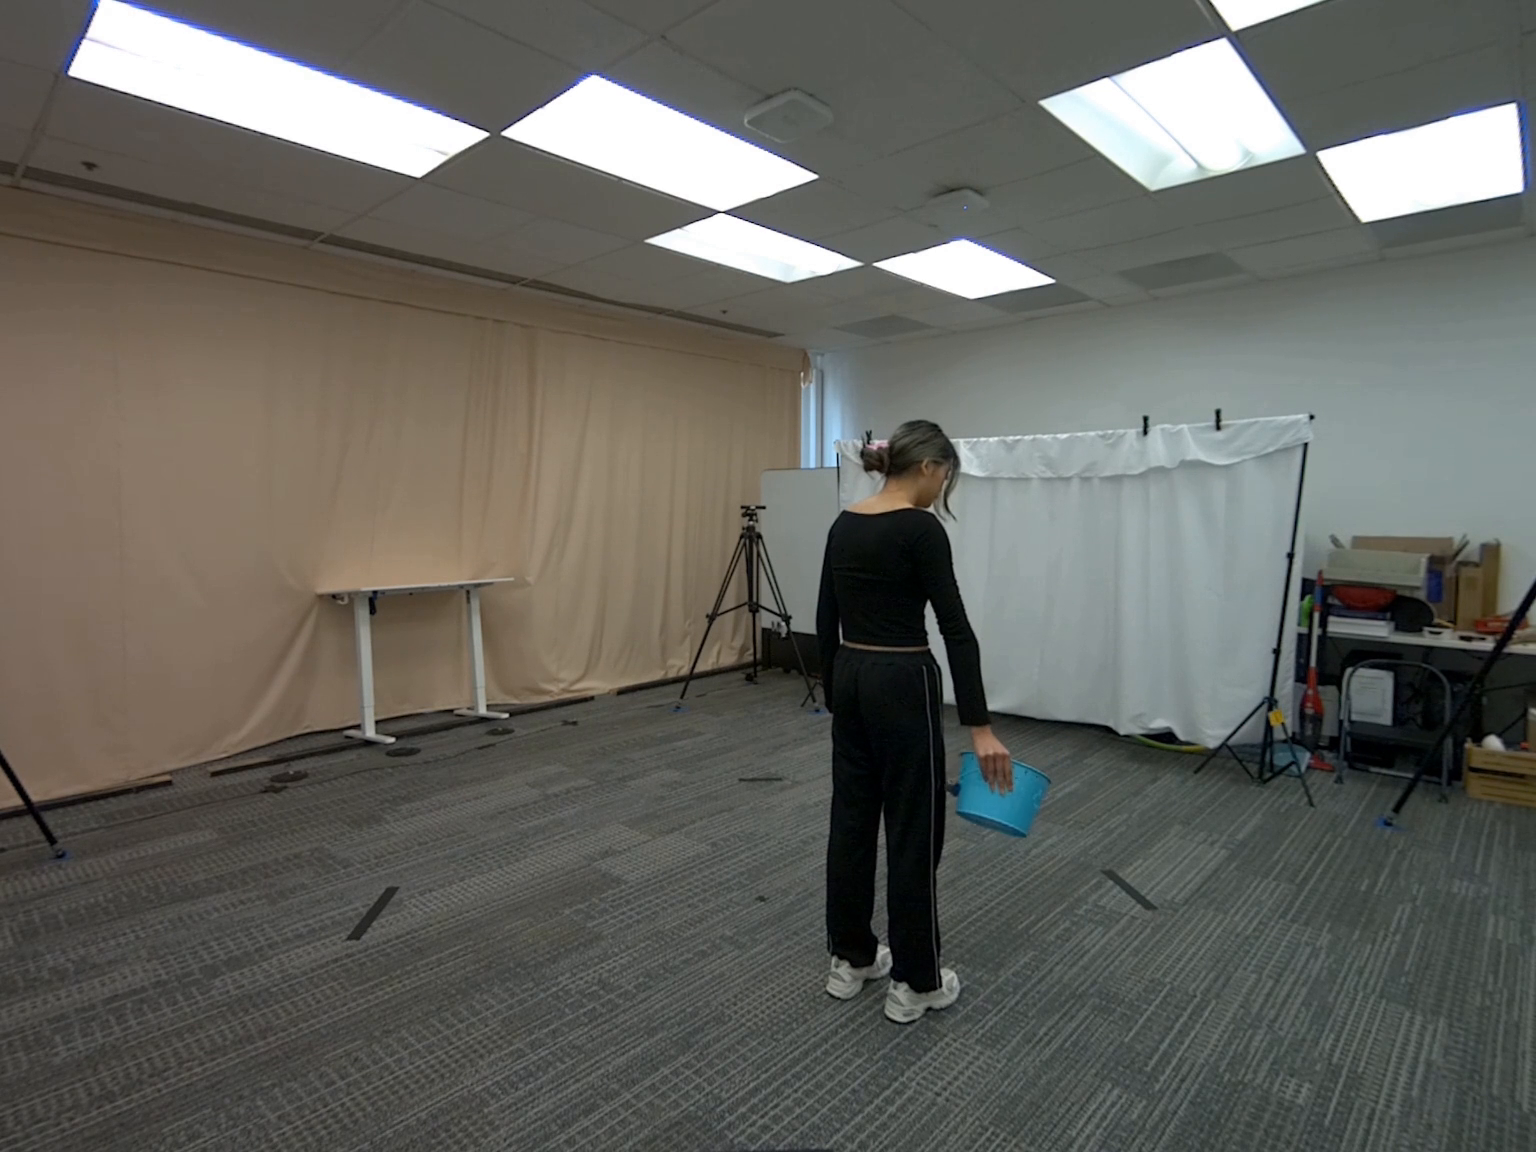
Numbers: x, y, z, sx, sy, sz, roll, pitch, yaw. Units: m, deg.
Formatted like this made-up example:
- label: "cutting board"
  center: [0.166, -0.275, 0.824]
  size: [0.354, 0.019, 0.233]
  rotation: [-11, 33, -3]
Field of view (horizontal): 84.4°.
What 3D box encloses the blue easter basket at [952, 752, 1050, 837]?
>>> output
- label: "blue easter basket"
  center: [0.600, 0.572, 2.175]
  size: [0.245, 0.156, 0.241]
  rotation: [20, -19, 5]
